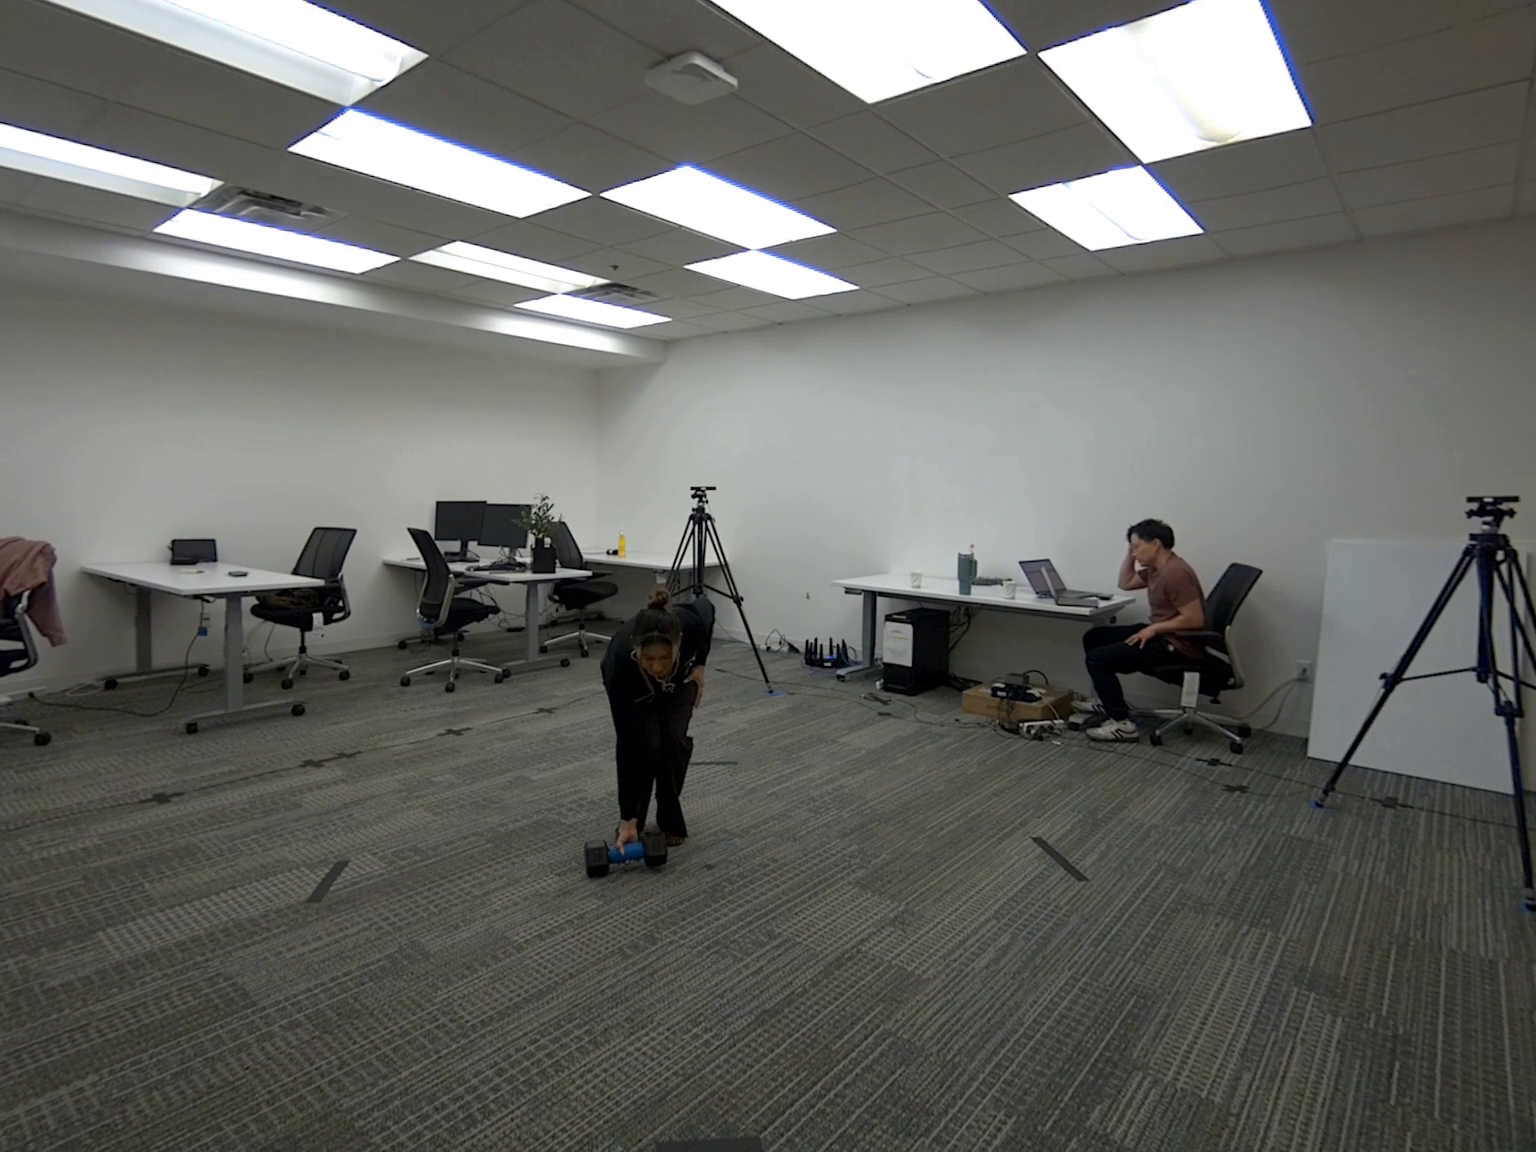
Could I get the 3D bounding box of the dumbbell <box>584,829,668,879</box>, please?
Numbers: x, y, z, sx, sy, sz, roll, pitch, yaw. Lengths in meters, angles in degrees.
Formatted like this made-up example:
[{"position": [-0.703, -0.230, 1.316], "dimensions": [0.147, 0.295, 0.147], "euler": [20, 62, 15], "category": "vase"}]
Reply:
[{"position": [-0.526, 0.985, 3.078], "dimensions": [0.289, 0.120, 0.113], "euler": [-5, 37, -15], "category": "dumbbell"}]
